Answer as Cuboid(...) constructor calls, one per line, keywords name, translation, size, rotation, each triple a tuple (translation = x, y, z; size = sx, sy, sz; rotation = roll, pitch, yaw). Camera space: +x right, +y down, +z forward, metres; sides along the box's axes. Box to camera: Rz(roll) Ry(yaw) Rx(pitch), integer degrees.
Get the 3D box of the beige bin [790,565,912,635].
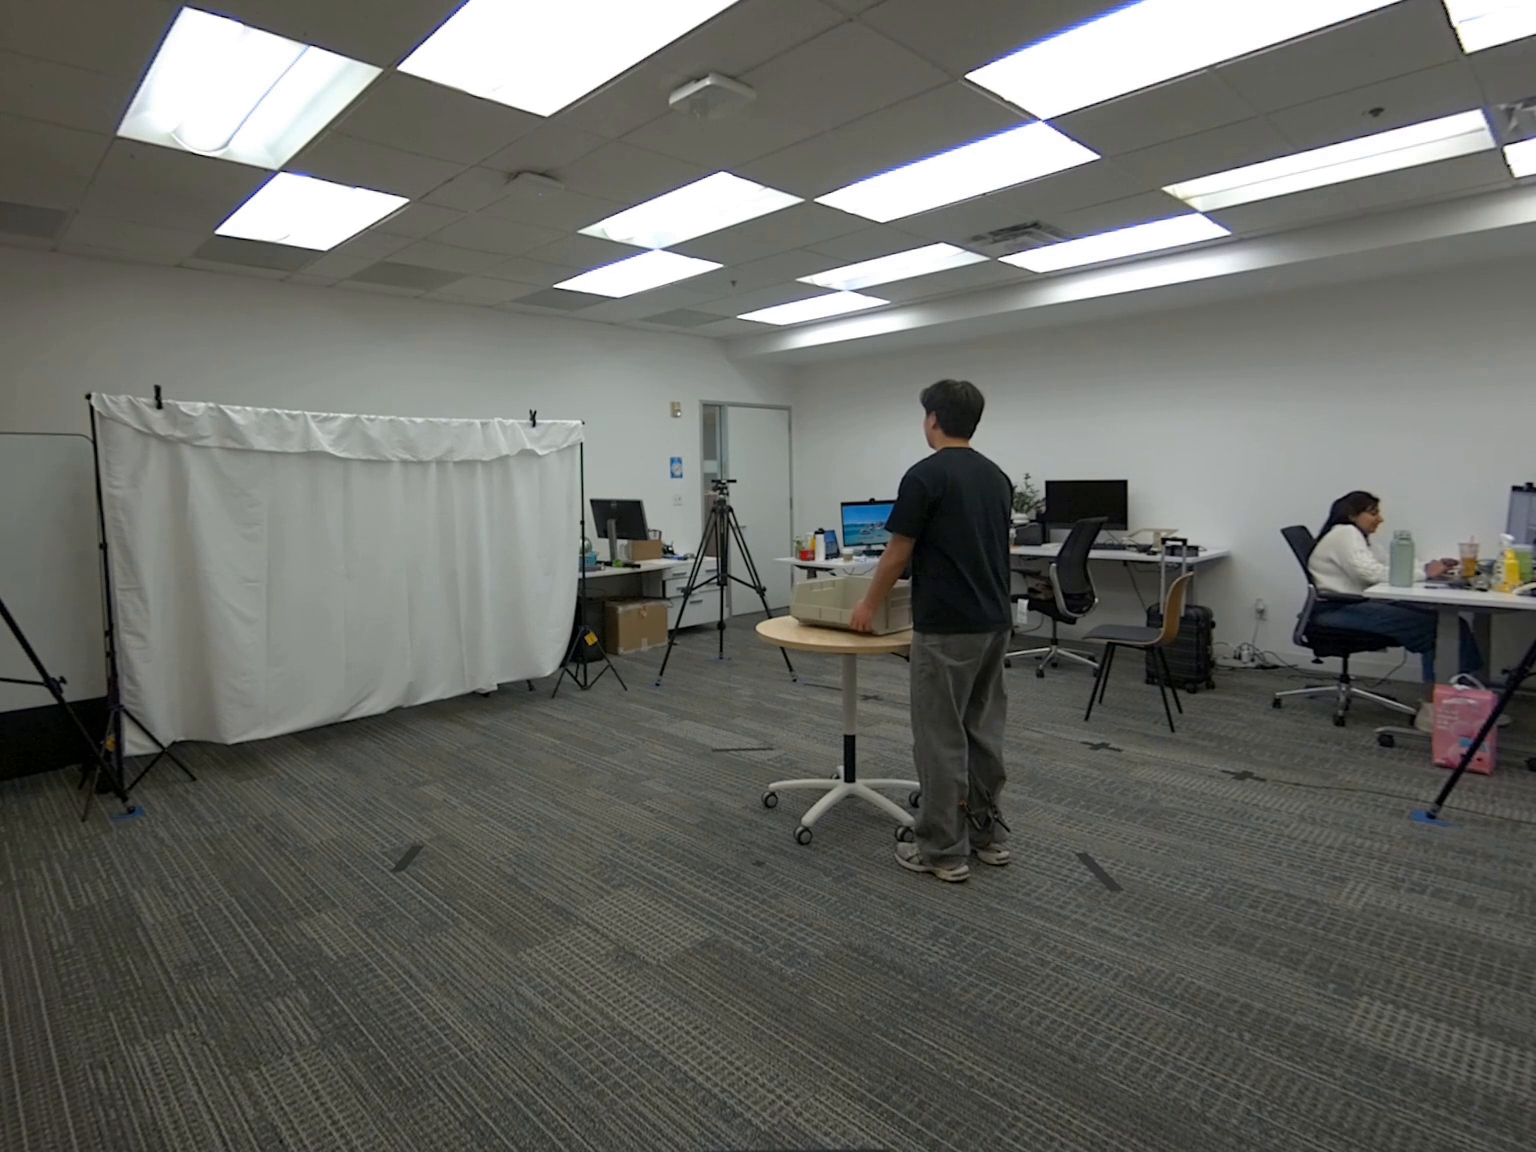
Cuboid(name="beige bin", translation=(0.367, 0.110, 3.519), size=(0.435, 0.188, 0.367), rotation=(6, 7, 44))
